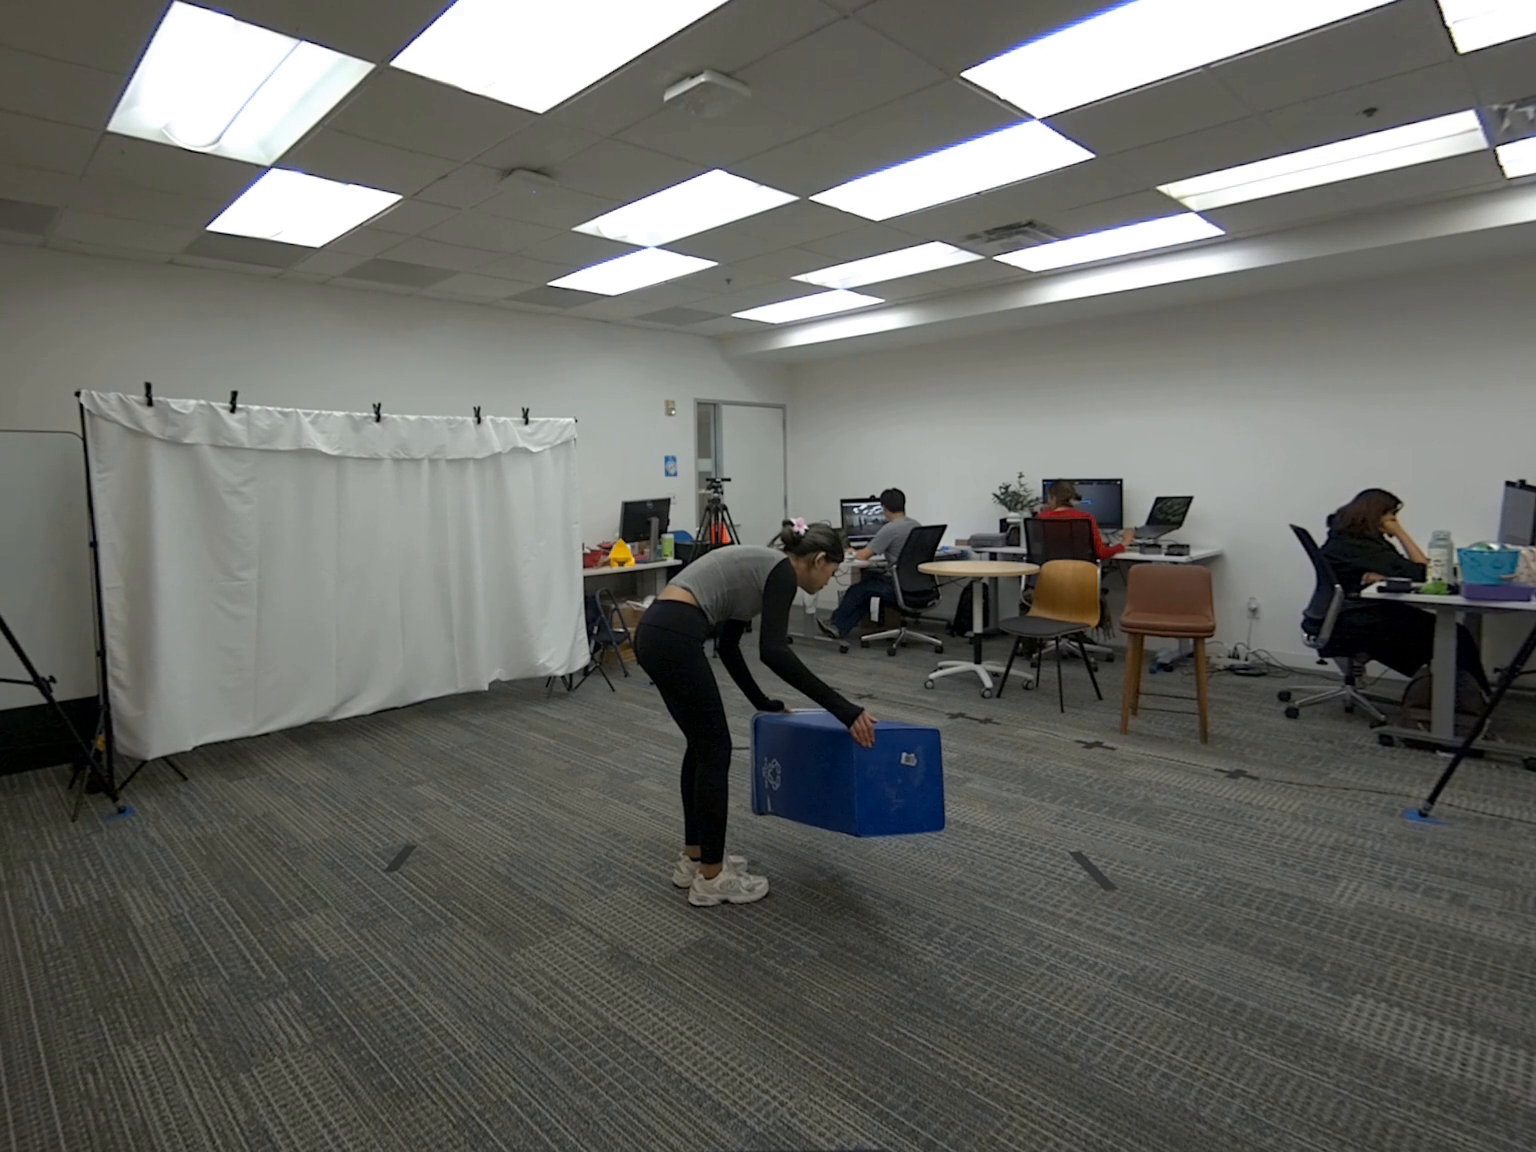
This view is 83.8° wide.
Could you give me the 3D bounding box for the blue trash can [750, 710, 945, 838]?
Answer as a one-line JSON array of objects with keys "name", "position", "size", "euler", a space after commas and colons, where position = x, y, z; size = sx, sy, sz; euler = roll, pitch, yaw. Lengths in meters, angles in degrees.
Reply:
[{"name": "blue trash can", "position": [0.250, 0.637, 2.838], "size": [0.370, 0.377, 0.722], "euler": [4, -9, -23]}]
